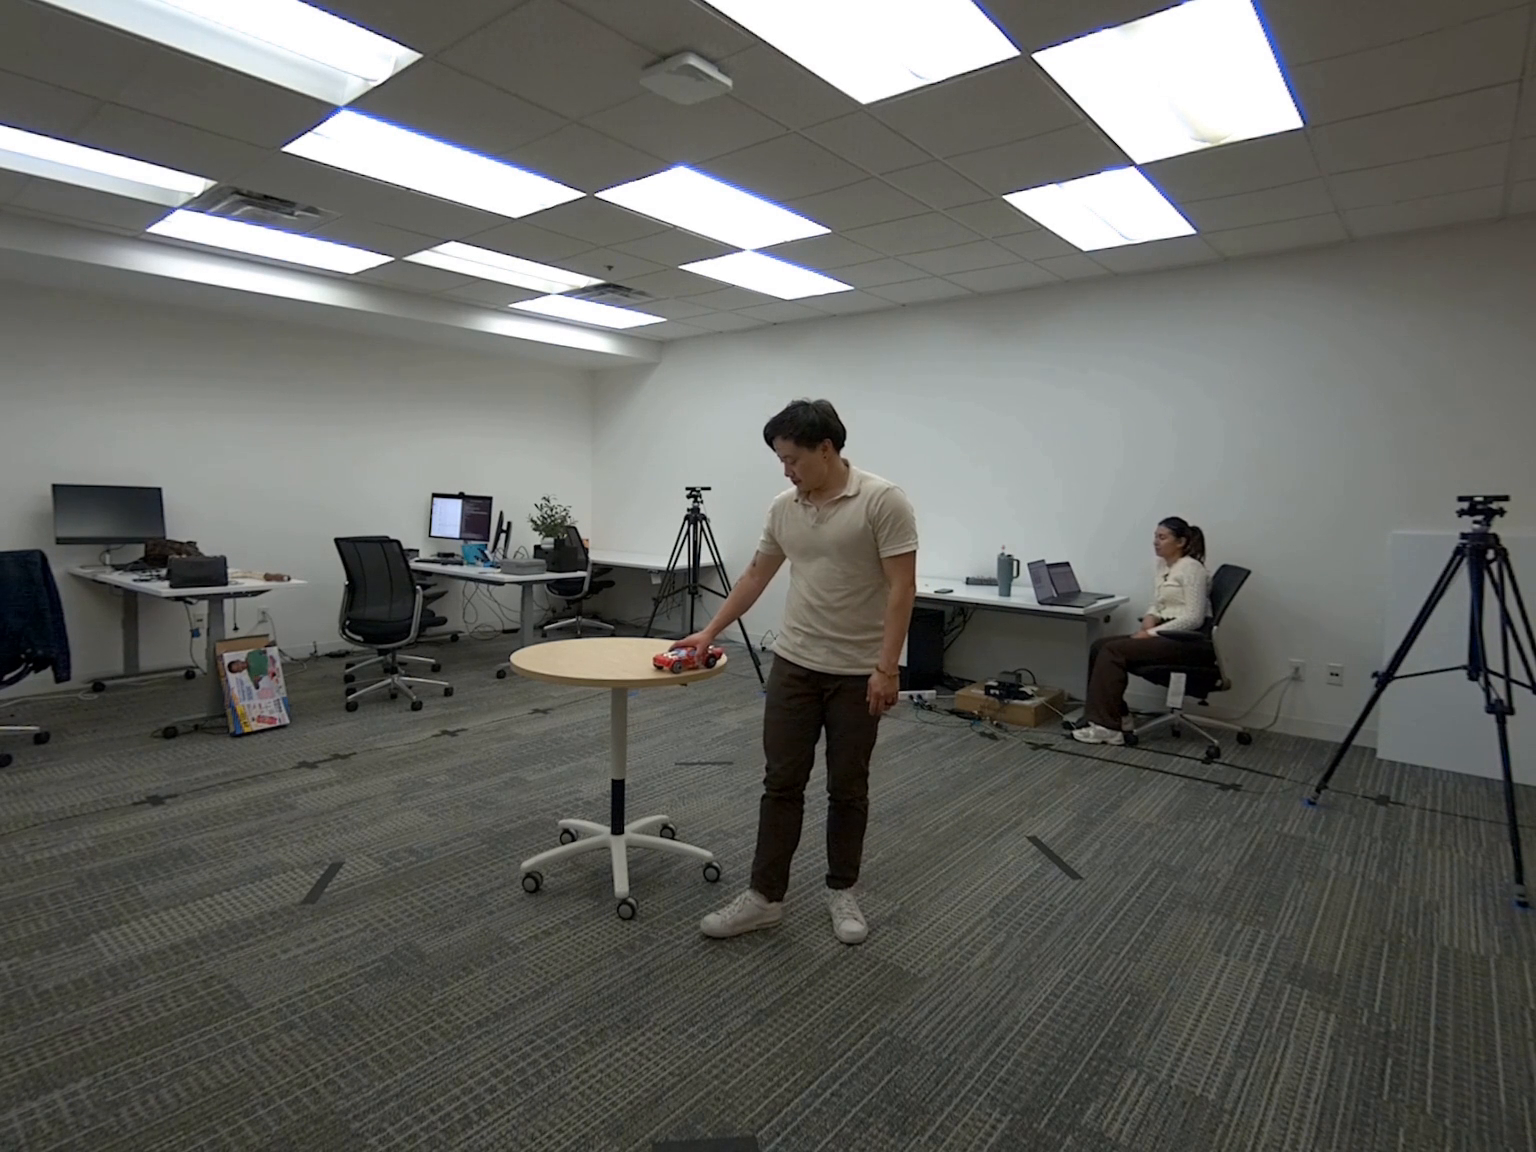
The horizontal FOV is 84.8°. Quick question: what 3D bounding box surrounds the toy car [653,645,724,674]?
[{"bbox_3d":[-0.275,0.277,2.864,0.249,0.082,0.135,-19,16,-40],"label":"toy car"}]
